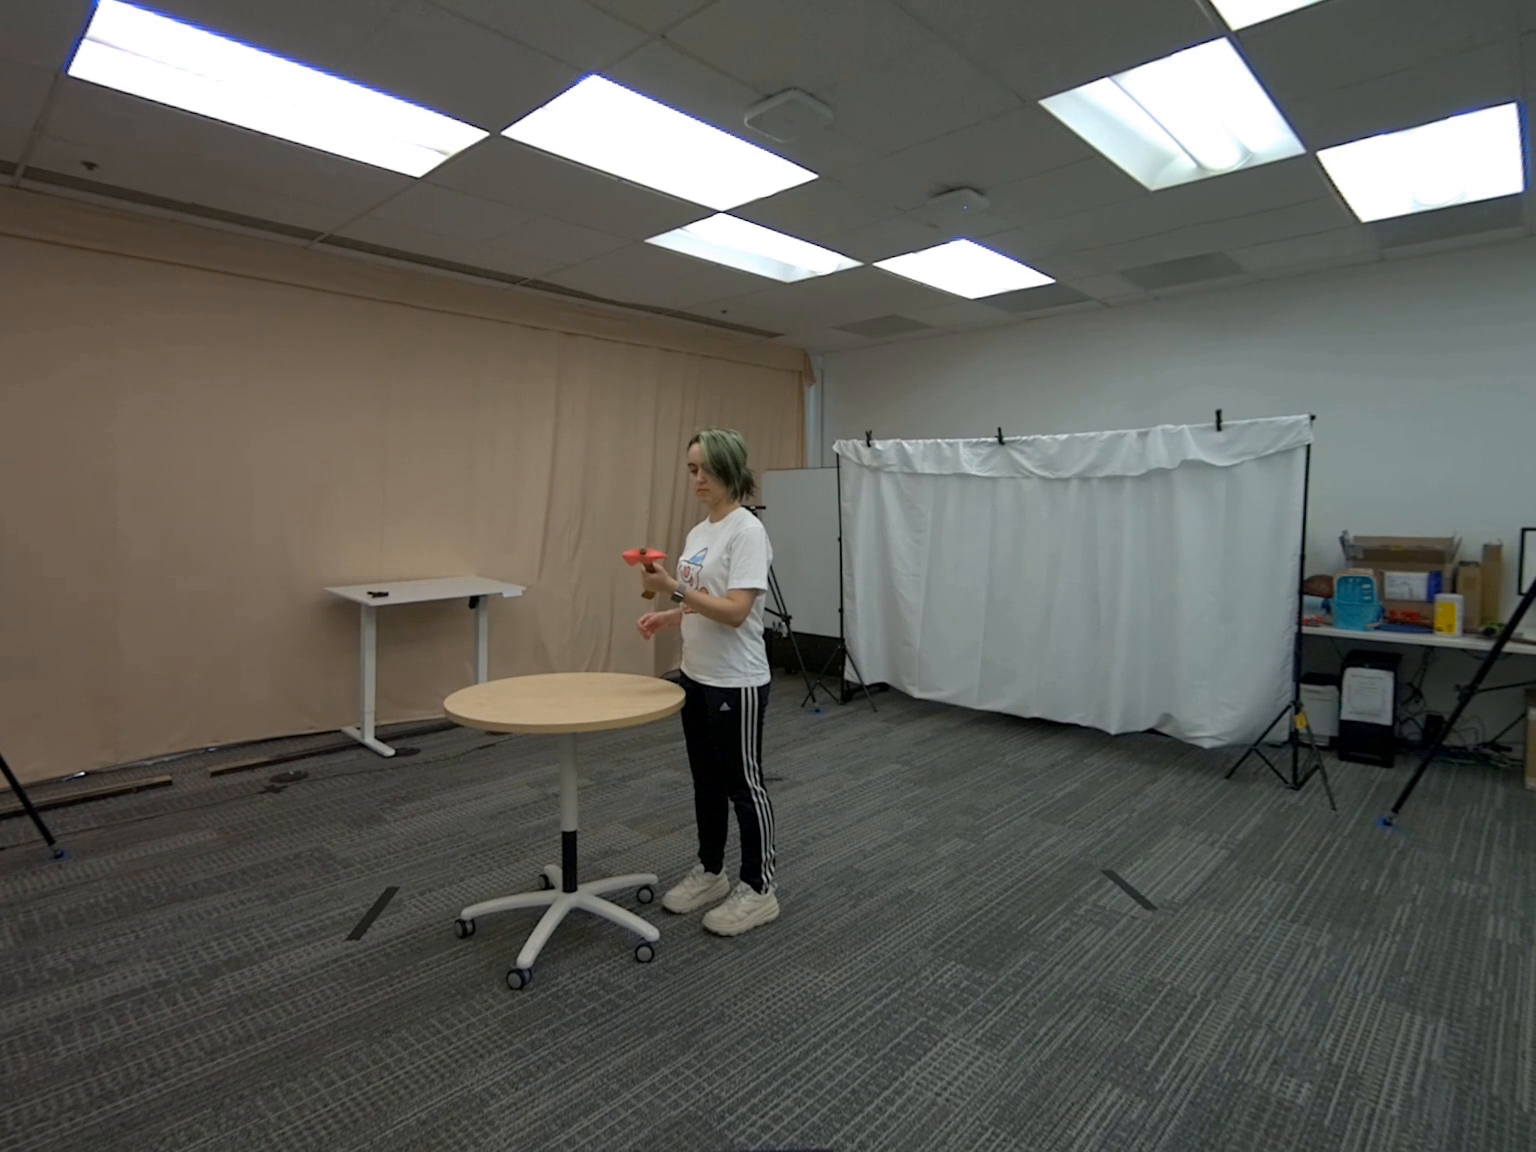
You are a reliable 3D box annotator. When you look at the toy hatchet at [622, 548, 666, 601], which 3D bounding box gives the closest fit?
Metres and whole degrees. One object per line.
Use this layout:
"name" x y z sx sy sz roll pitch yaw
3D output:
"toy hatchet" -0.396 -0.007 2.575 0.129 0.030 0.269 12 -33 -11
